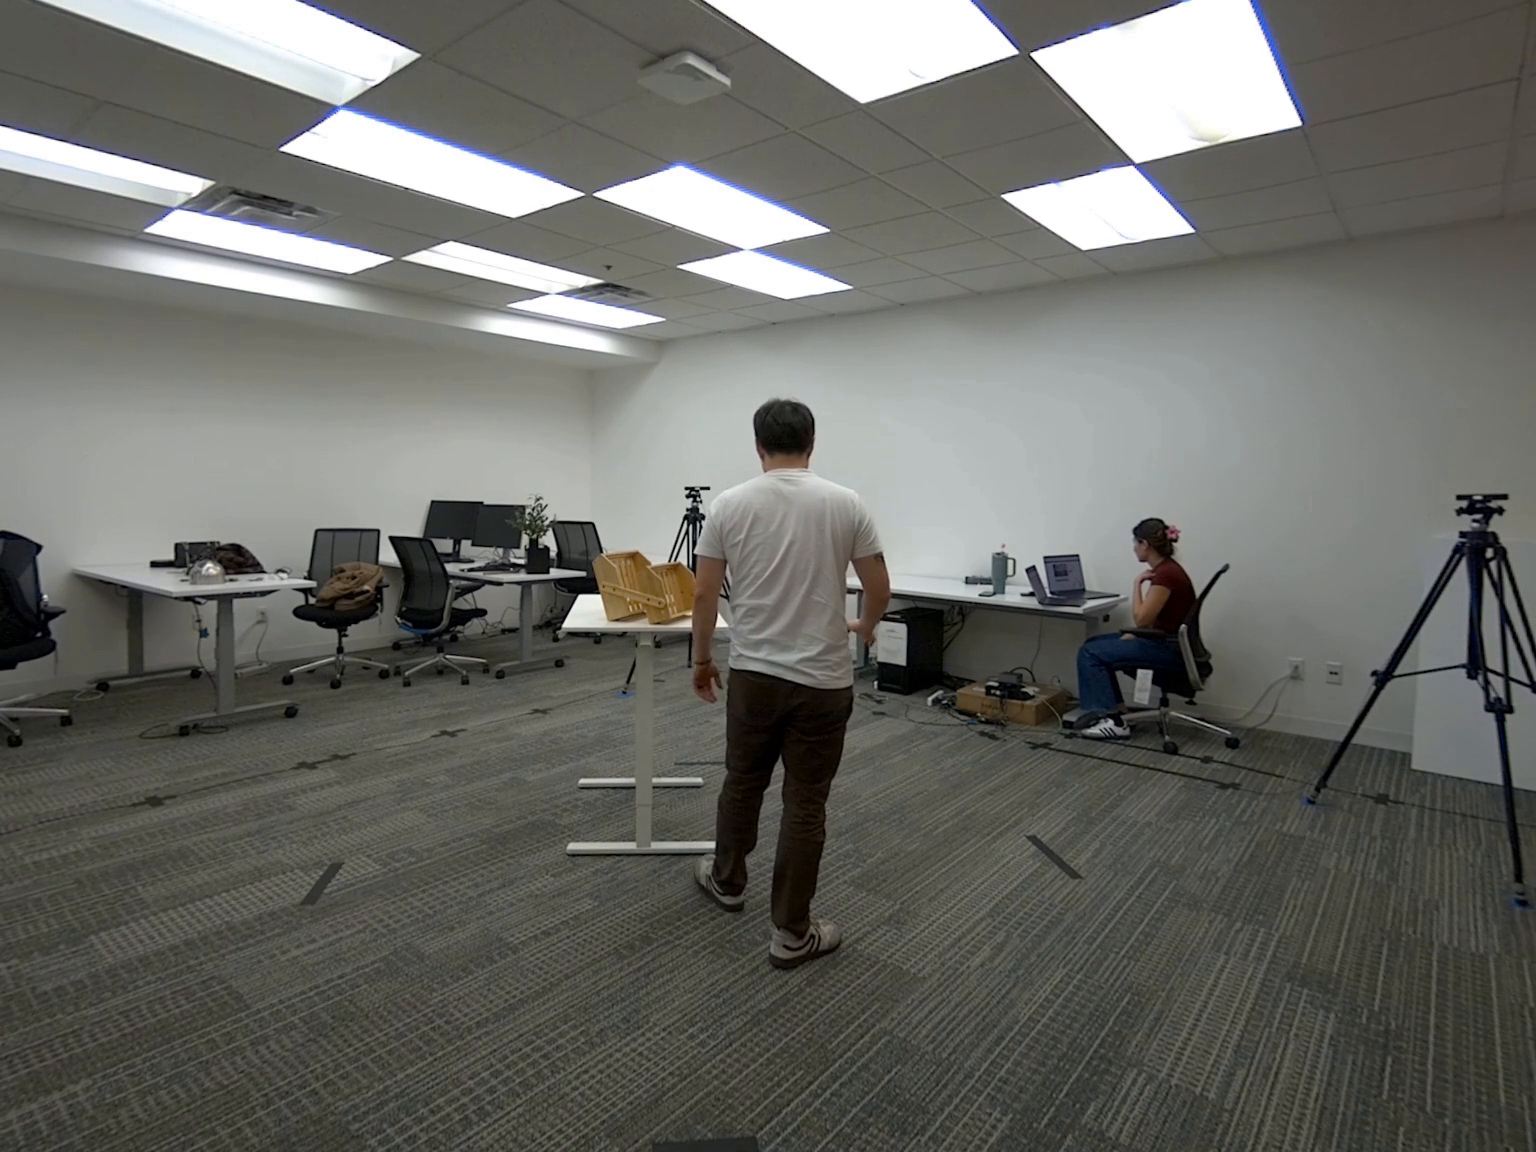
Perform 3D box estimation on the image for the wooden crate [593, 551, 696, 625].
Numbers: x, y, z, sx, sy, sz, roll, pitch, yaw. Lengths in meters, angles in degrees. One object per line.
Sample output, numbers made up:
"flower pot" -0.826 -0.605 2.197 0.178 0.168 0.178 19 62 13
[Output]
"wooden crate" -0.471 0.026 3.297 0.277 0.303 0.318 -16 -2 20
